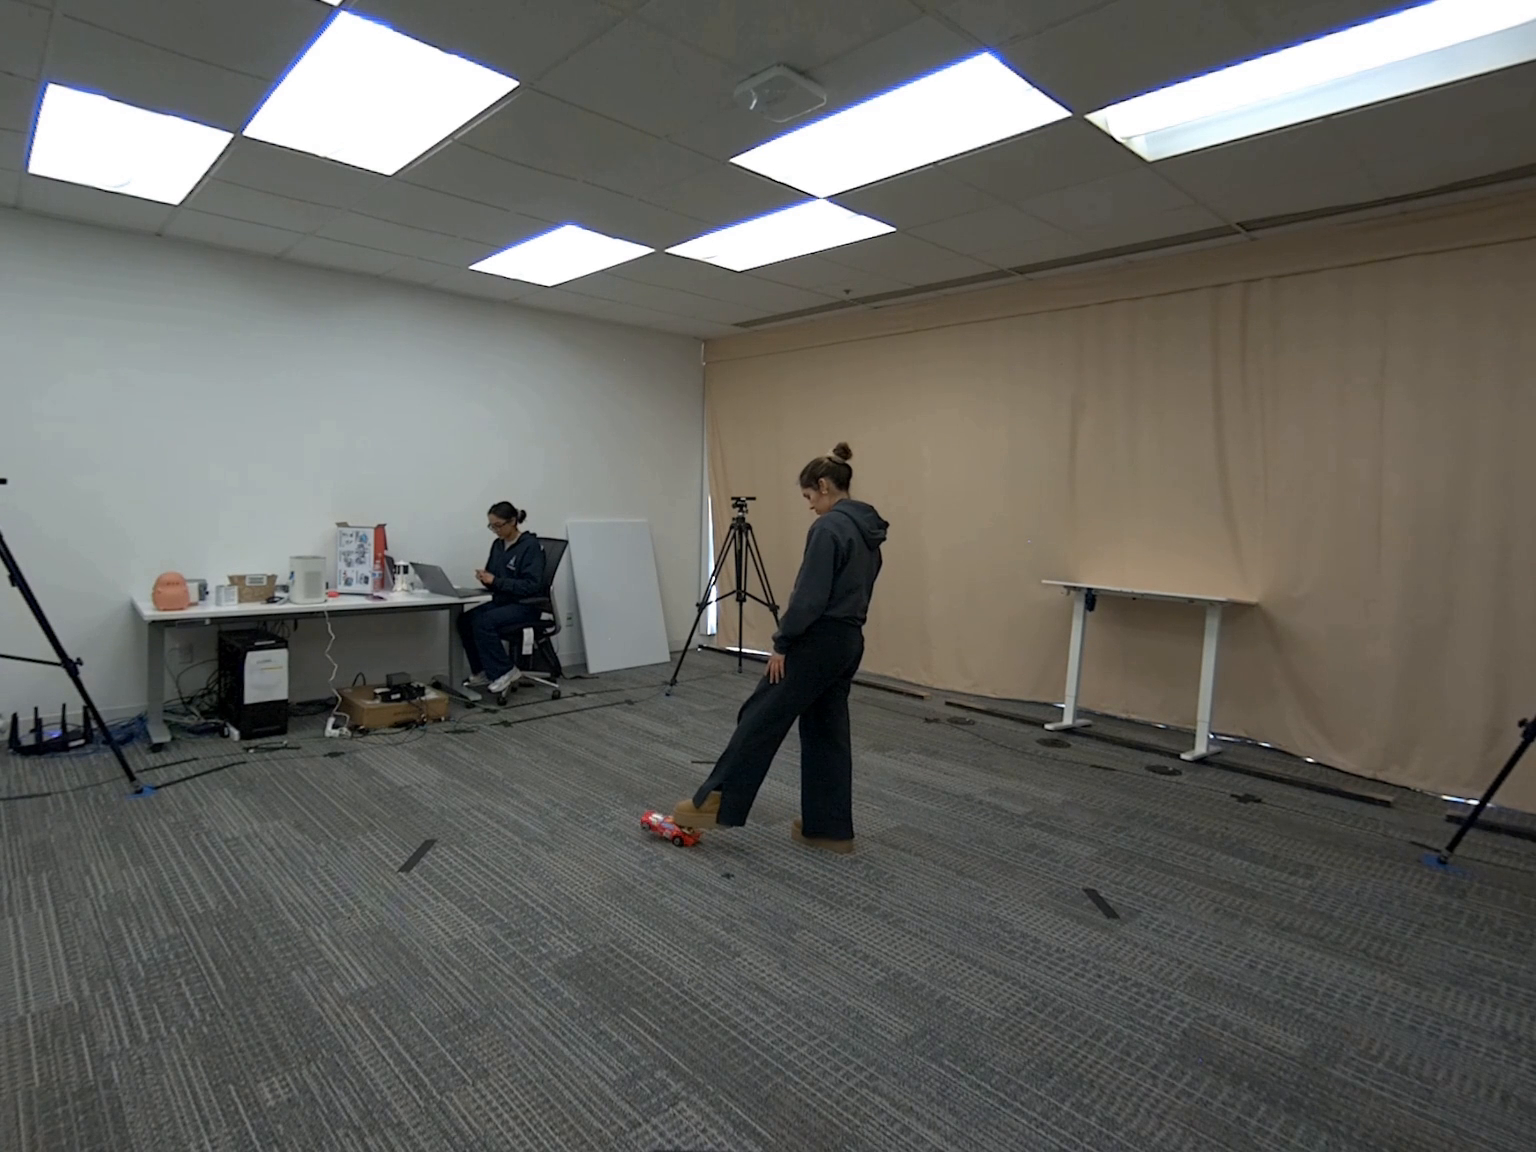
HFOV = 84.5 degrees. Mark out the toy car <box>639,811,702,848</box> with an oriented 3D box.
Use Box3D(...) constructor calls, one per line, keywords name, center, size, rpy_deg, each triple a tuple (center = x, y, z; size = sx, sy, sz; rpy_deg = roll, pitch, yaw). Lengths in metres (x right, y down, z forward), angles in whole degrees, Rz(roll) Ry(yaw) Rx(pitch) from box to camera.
Box3D(name="toy car", center=(-0.400, 1.021, 3.433), size=(0.258, 0.083, 0.129), rpy_deg=(9, 6, 16))
